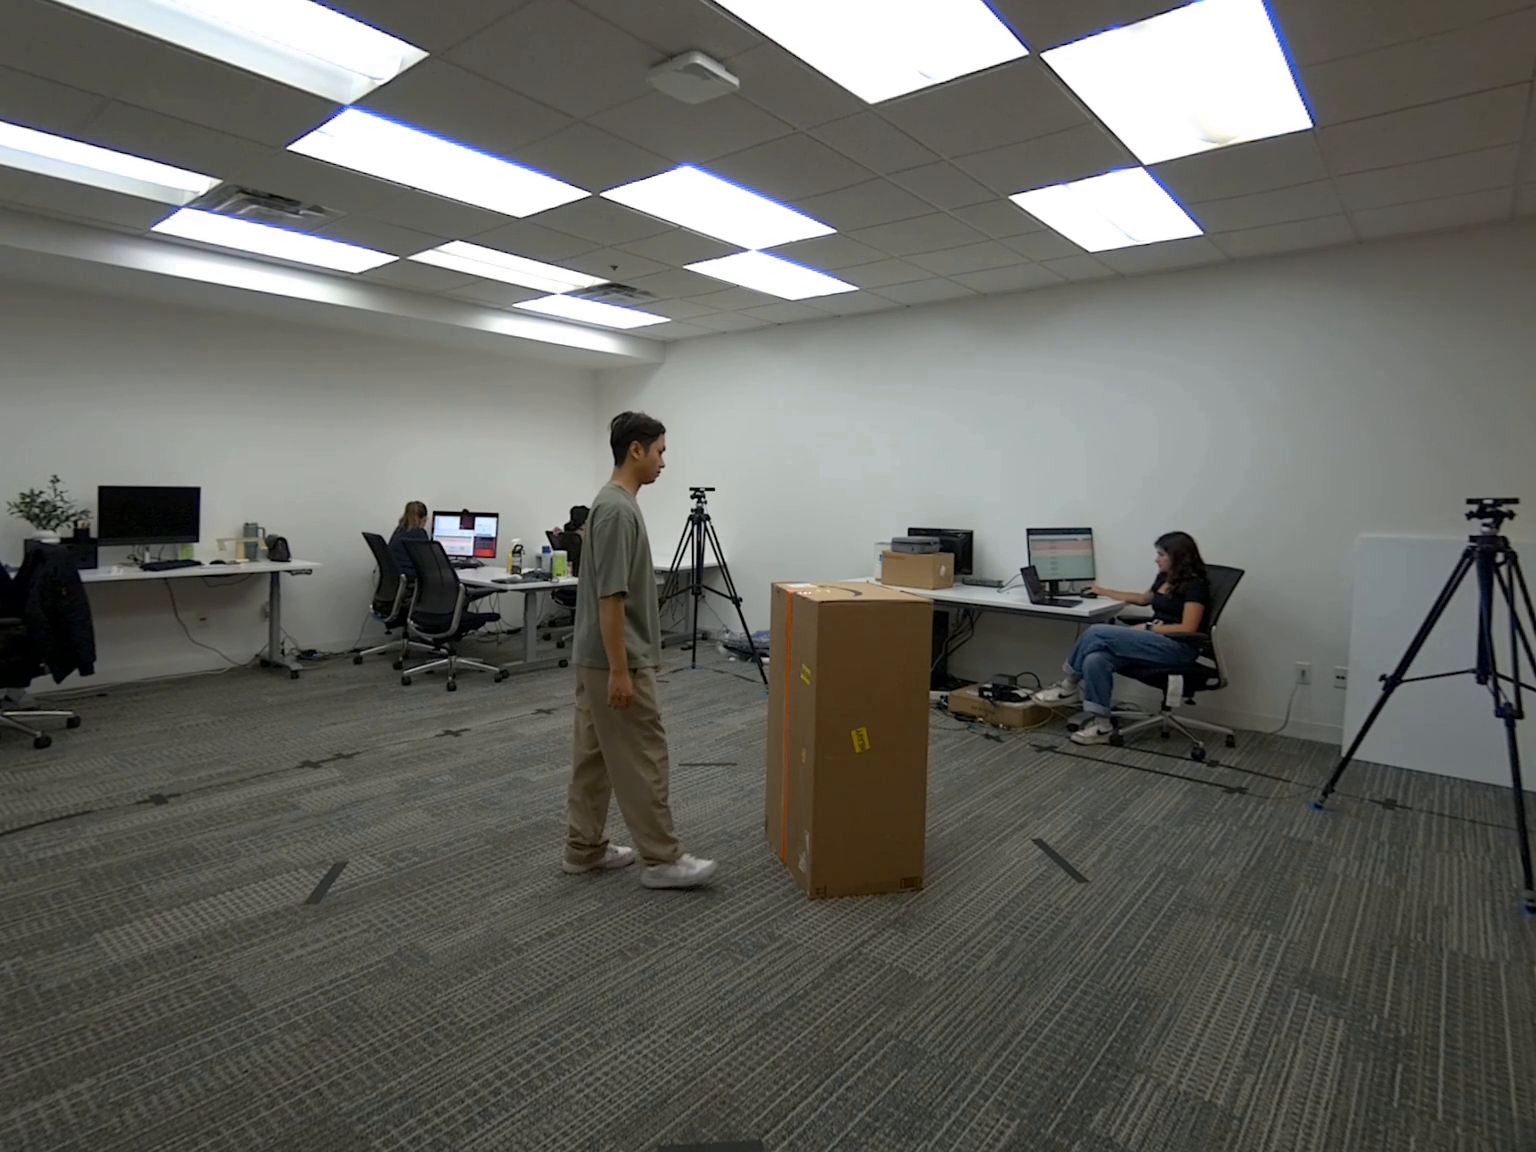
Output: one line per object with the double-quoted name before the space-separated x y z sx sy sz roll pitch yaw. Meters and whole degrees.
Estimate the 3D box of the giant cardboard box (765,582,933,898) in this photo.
"giant cardboard box" 0.274 0.563 3.177 0.420 1.023 0.587 1 3 -14
